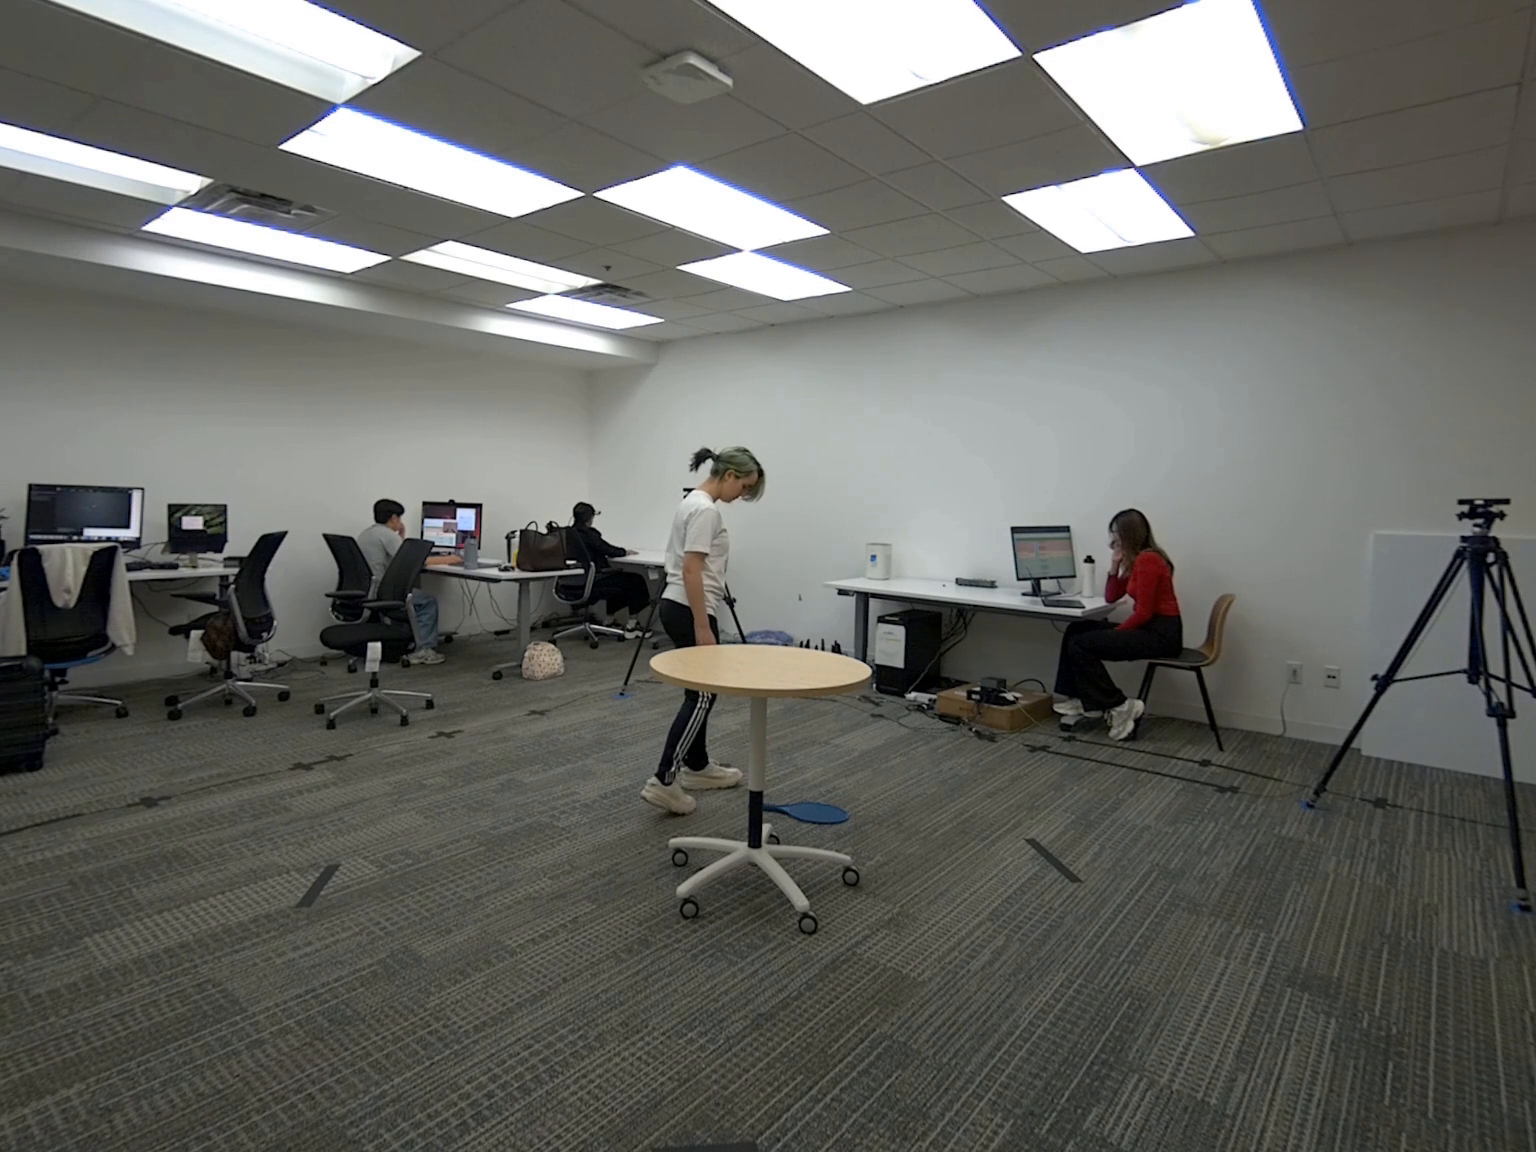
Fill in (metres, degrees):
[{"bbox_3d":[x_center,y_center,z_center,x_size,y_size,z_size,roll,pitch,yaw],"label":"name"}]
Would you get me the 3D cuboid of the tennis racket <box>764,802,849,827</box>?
[{"bbox_3d":[0.123,1.005,3.674,0.438,0.031,0.212,3,6,10],"label":"tennis racket"}]
